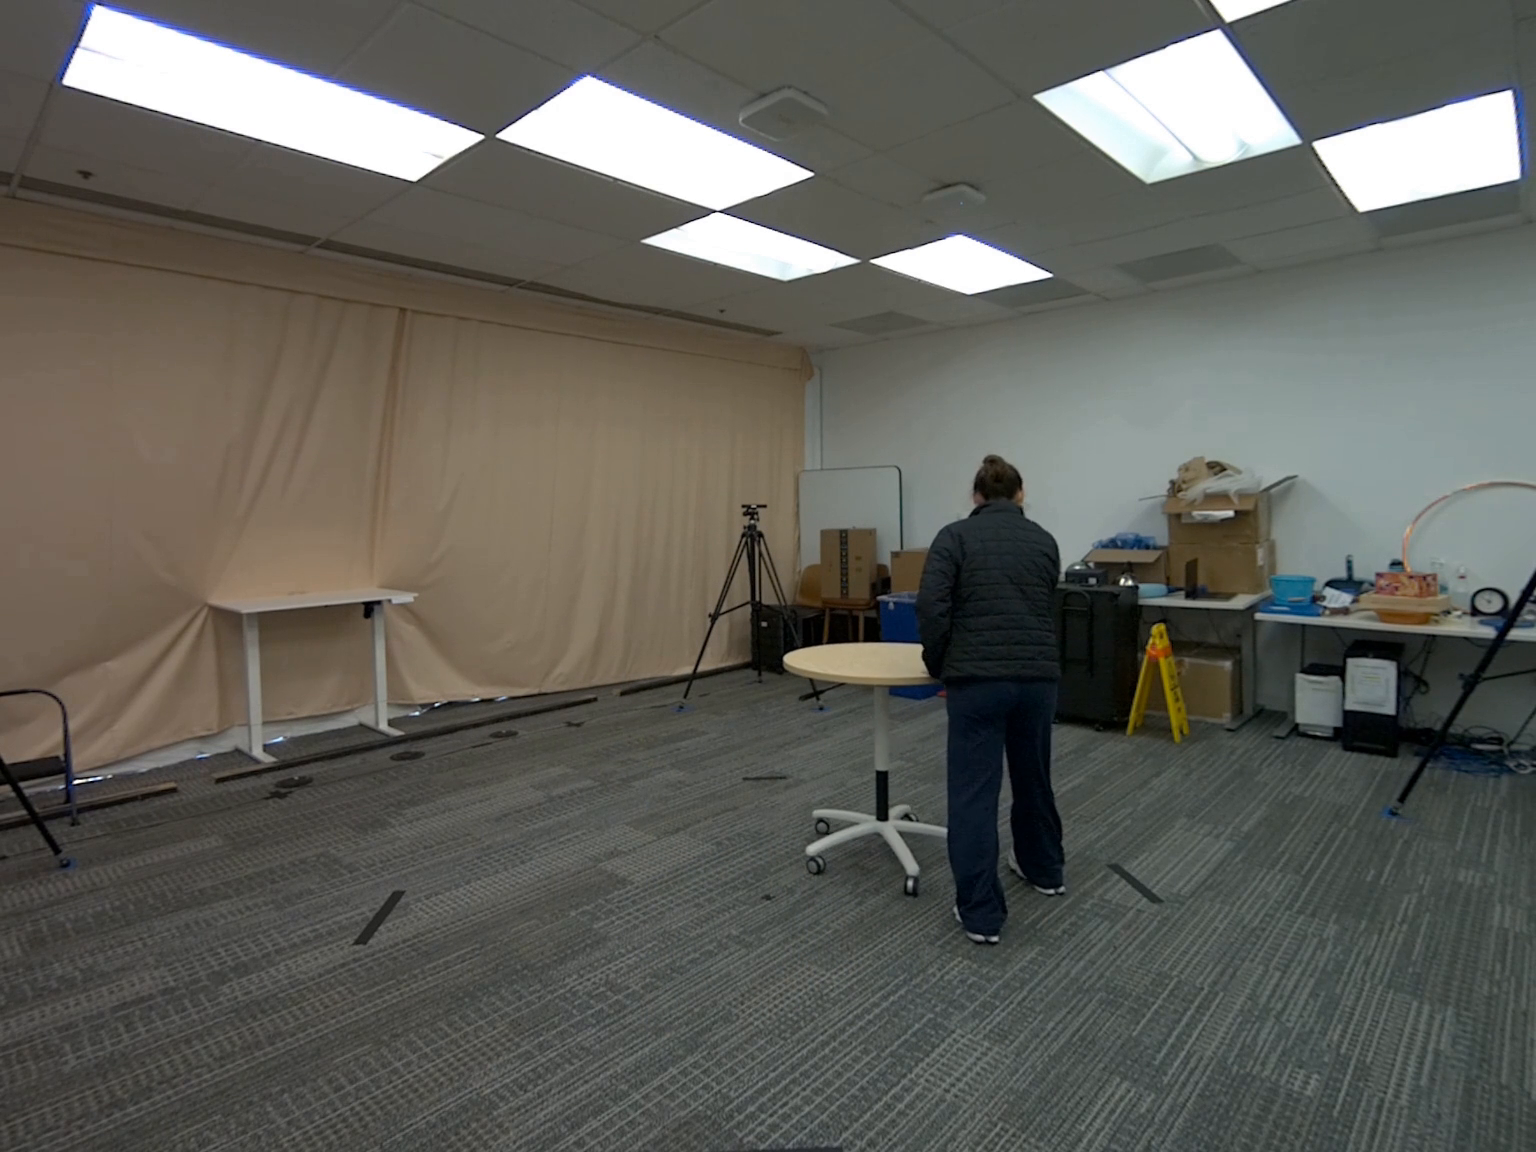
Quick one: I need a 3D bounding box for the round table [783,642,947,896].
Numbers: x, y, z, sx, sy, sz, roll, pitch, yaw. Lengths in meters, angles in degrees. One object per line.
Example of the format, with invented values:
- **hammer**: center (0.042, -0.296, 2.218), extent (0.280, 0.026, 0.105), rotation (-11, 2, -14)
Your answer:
- **round table**: center (0.473, 0.711, 3.308), extent (0.784, 0.785, 0.788), rotation (-1, 4, -2)
